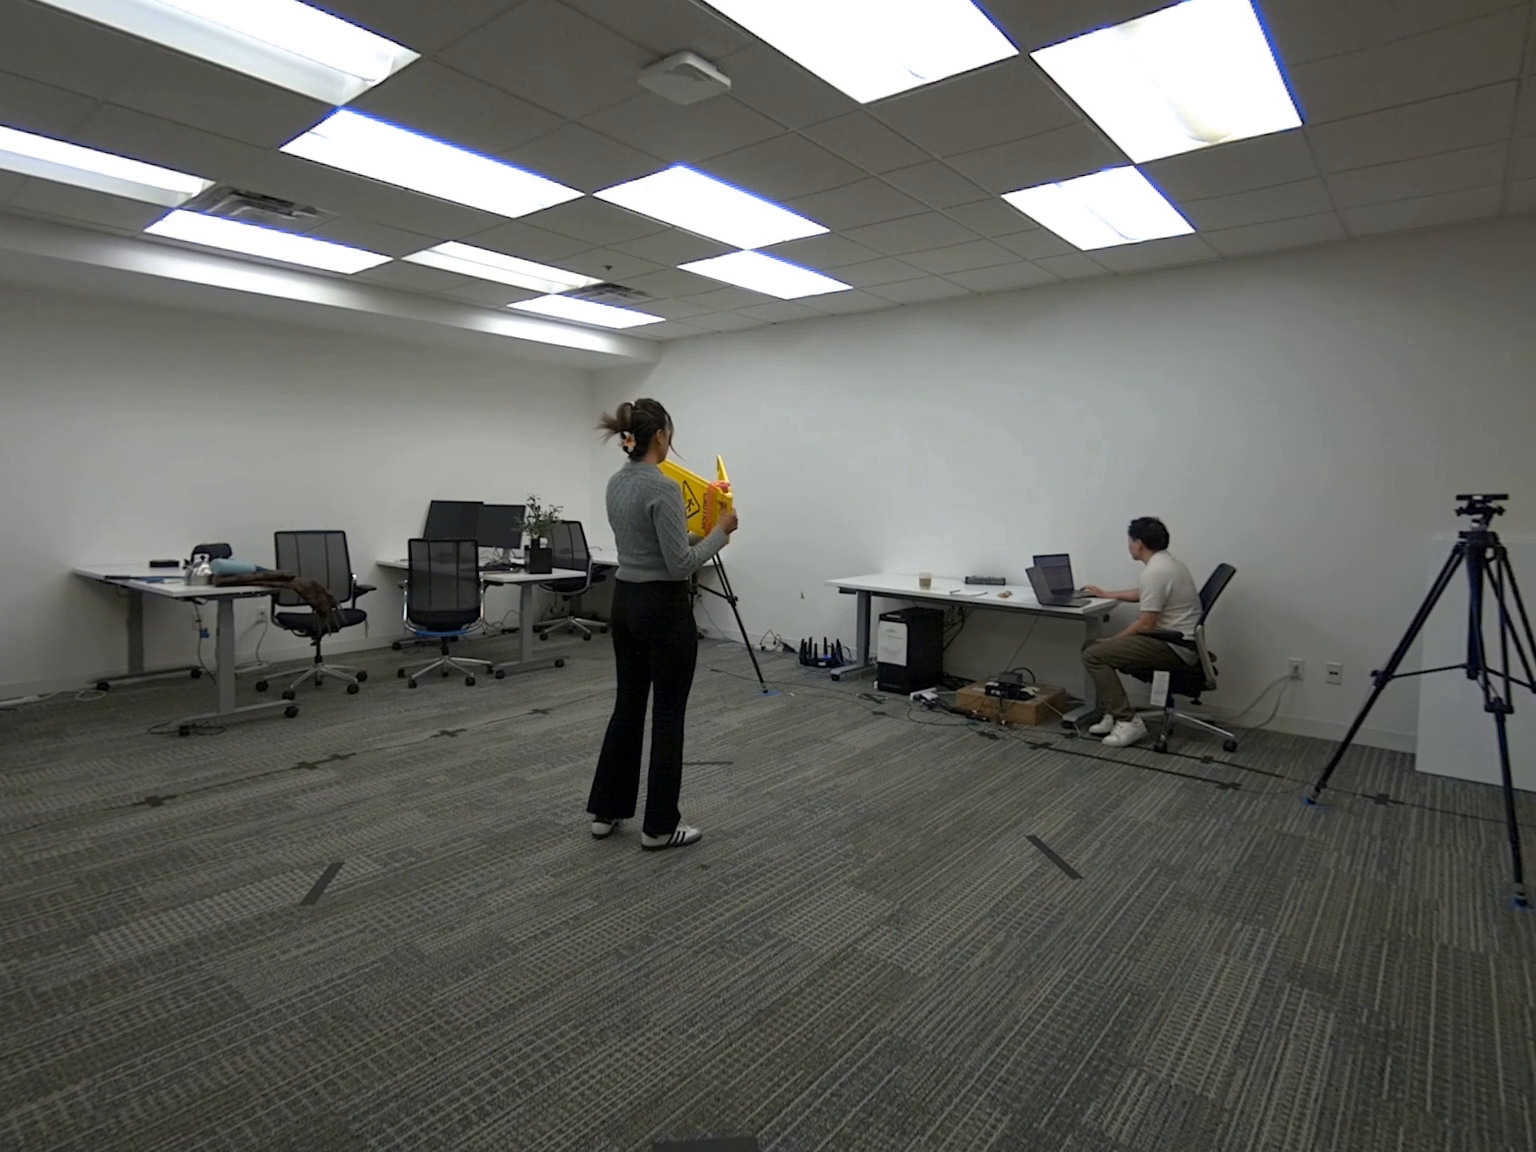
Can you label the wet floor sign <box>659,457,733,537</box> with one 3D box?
[{"bbox_3d":[-0.268,-0.315,3.597,0.284,0.278,0.668,-3,19,-20],"label":"wet floor sign"}]
